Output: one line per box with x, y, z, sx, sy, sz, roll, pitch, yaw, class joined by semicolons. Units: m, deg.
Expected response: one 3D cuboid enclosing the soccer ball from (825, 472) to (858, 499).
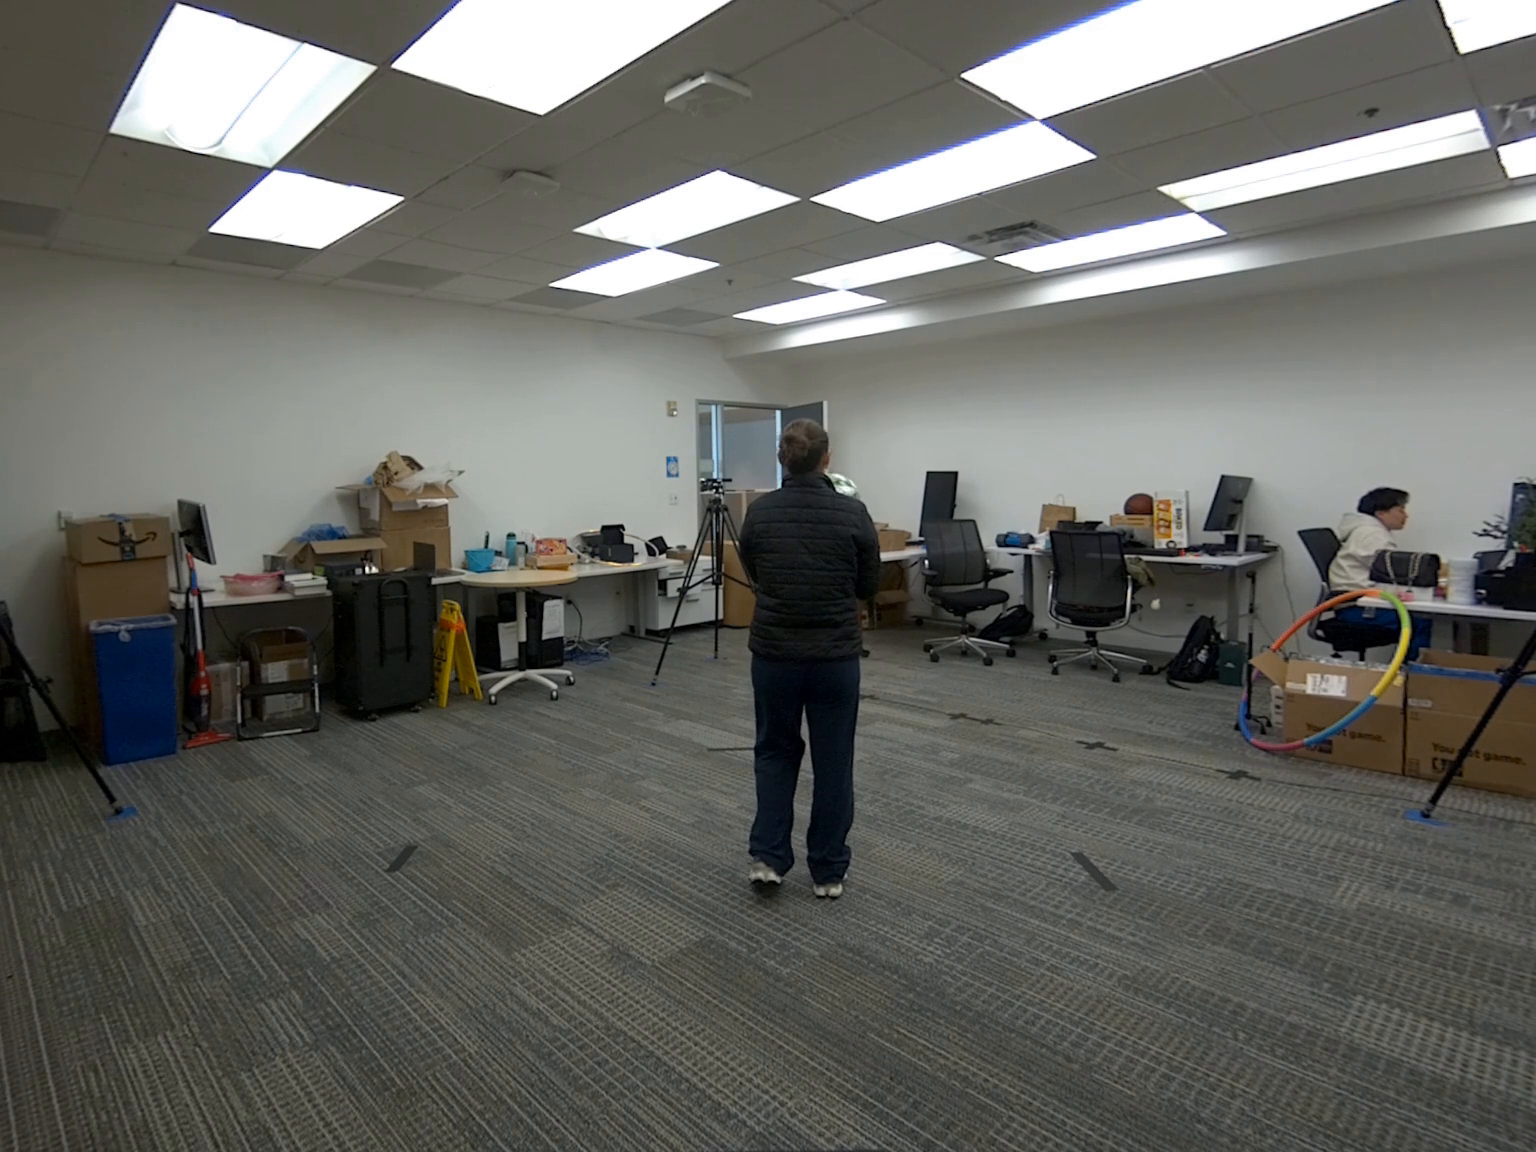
0.242;-0.284;3.110;0.187;0.187;0.188;-1;5;-2;soccer ball
